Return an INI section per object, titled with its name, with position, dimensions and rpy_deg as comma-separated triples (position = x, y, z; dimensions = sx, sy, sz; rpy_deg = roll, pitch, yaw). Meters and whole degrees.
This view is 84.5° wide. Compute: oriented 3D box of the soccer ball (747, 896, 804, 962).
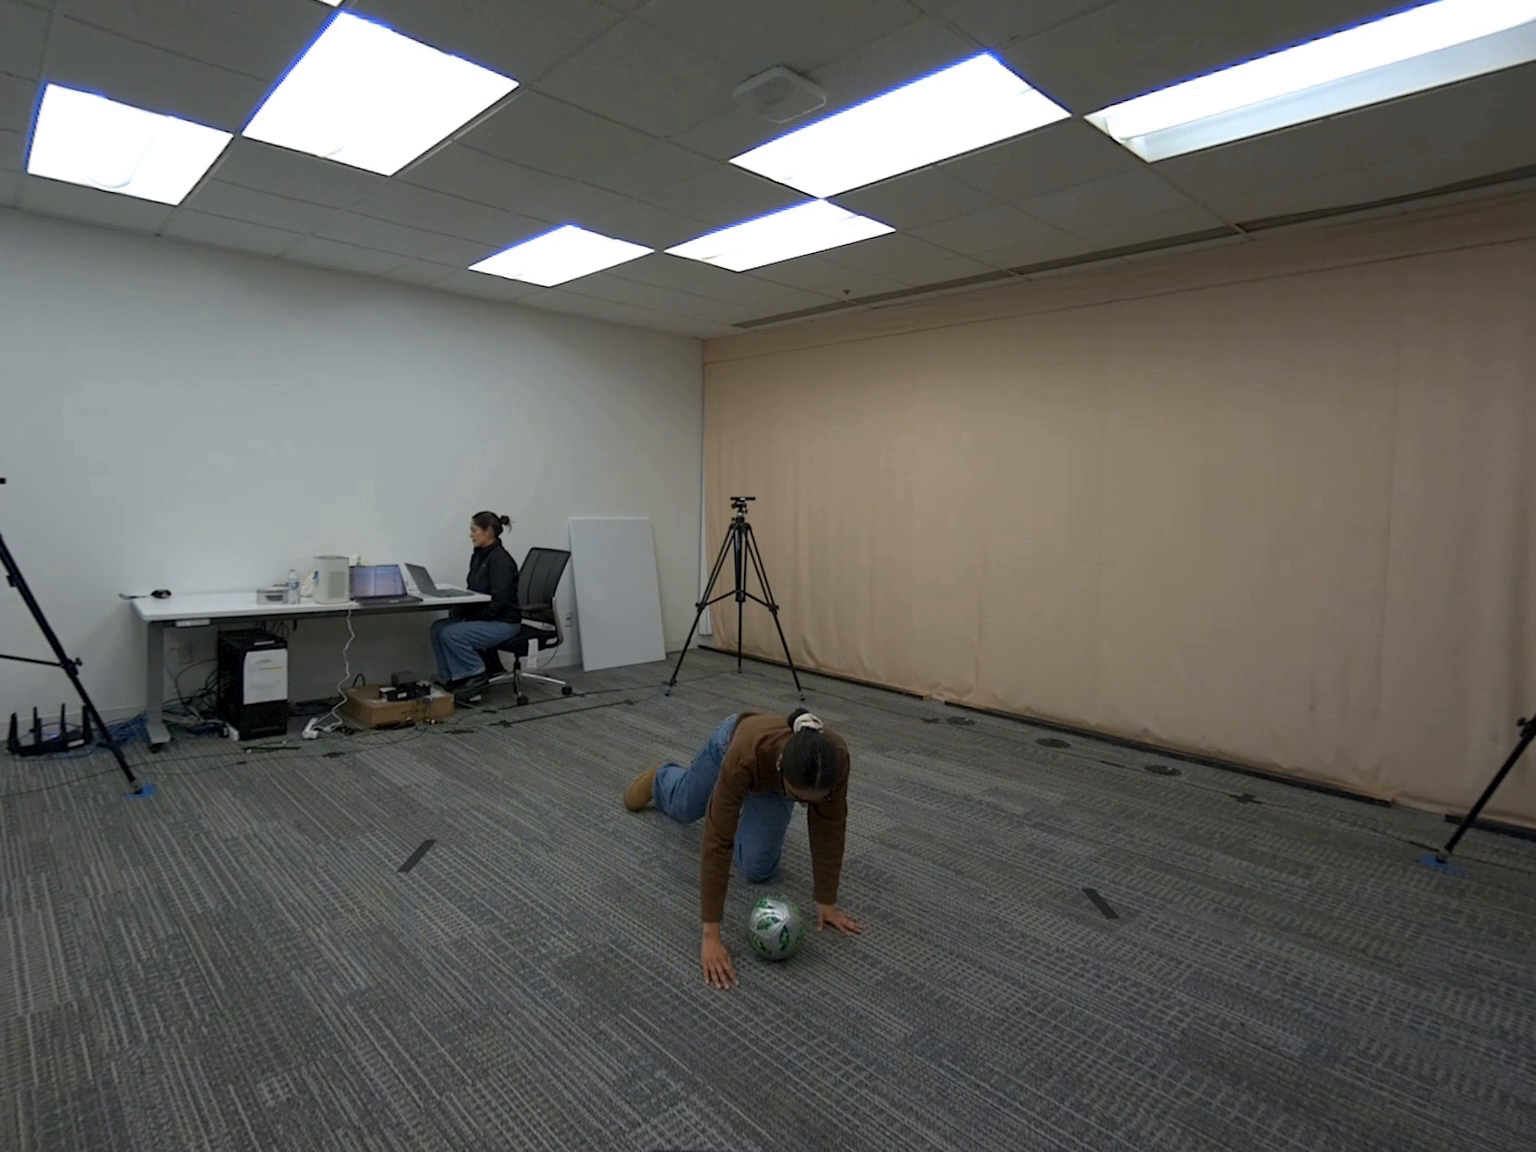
[soccer ball]
position = 0.008, 1.074, 2.561
dimensions = 0.187, 0.187, 0.188
rpy_deg = 1, 4, -1
